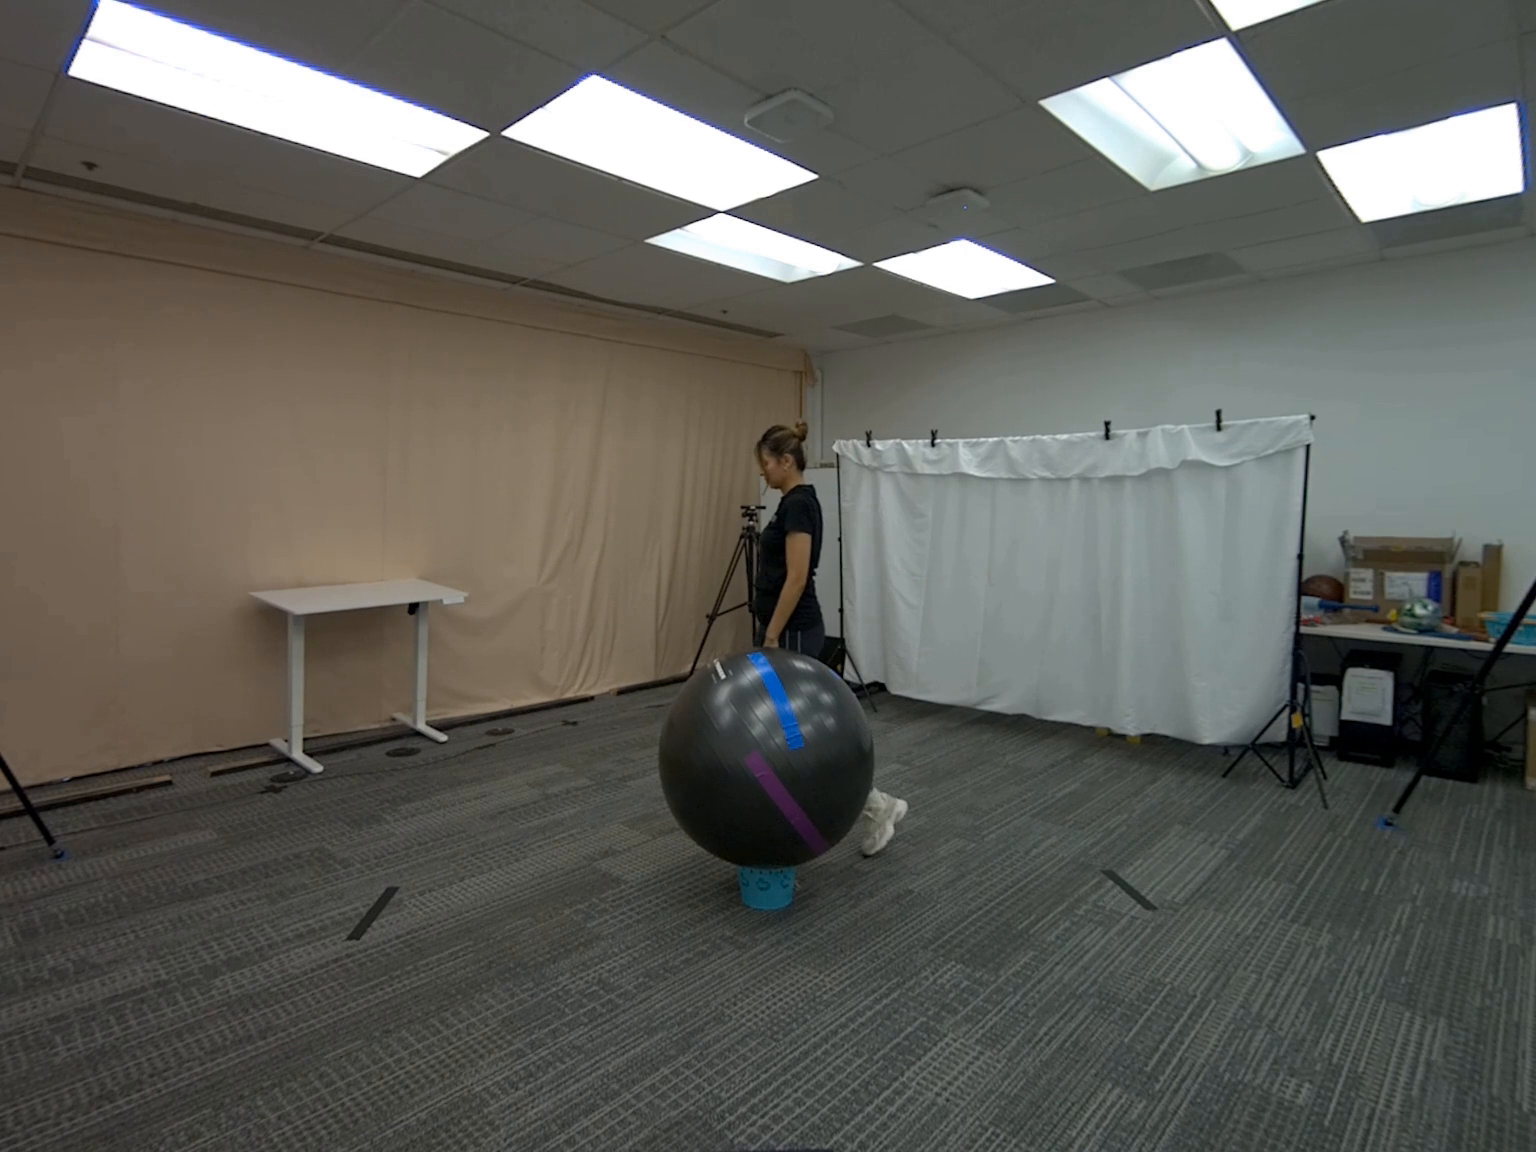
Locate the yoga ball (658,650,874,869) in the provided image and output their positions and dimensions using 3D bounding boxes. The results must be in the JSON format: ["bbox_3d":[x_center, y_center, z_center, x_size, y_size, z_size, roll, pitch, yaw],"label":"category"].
[{"bbox_3d":[-0.005,0.635,2.967,0.757,0.756,0.760,0,4,-2],"label":"yoga ball"}]
